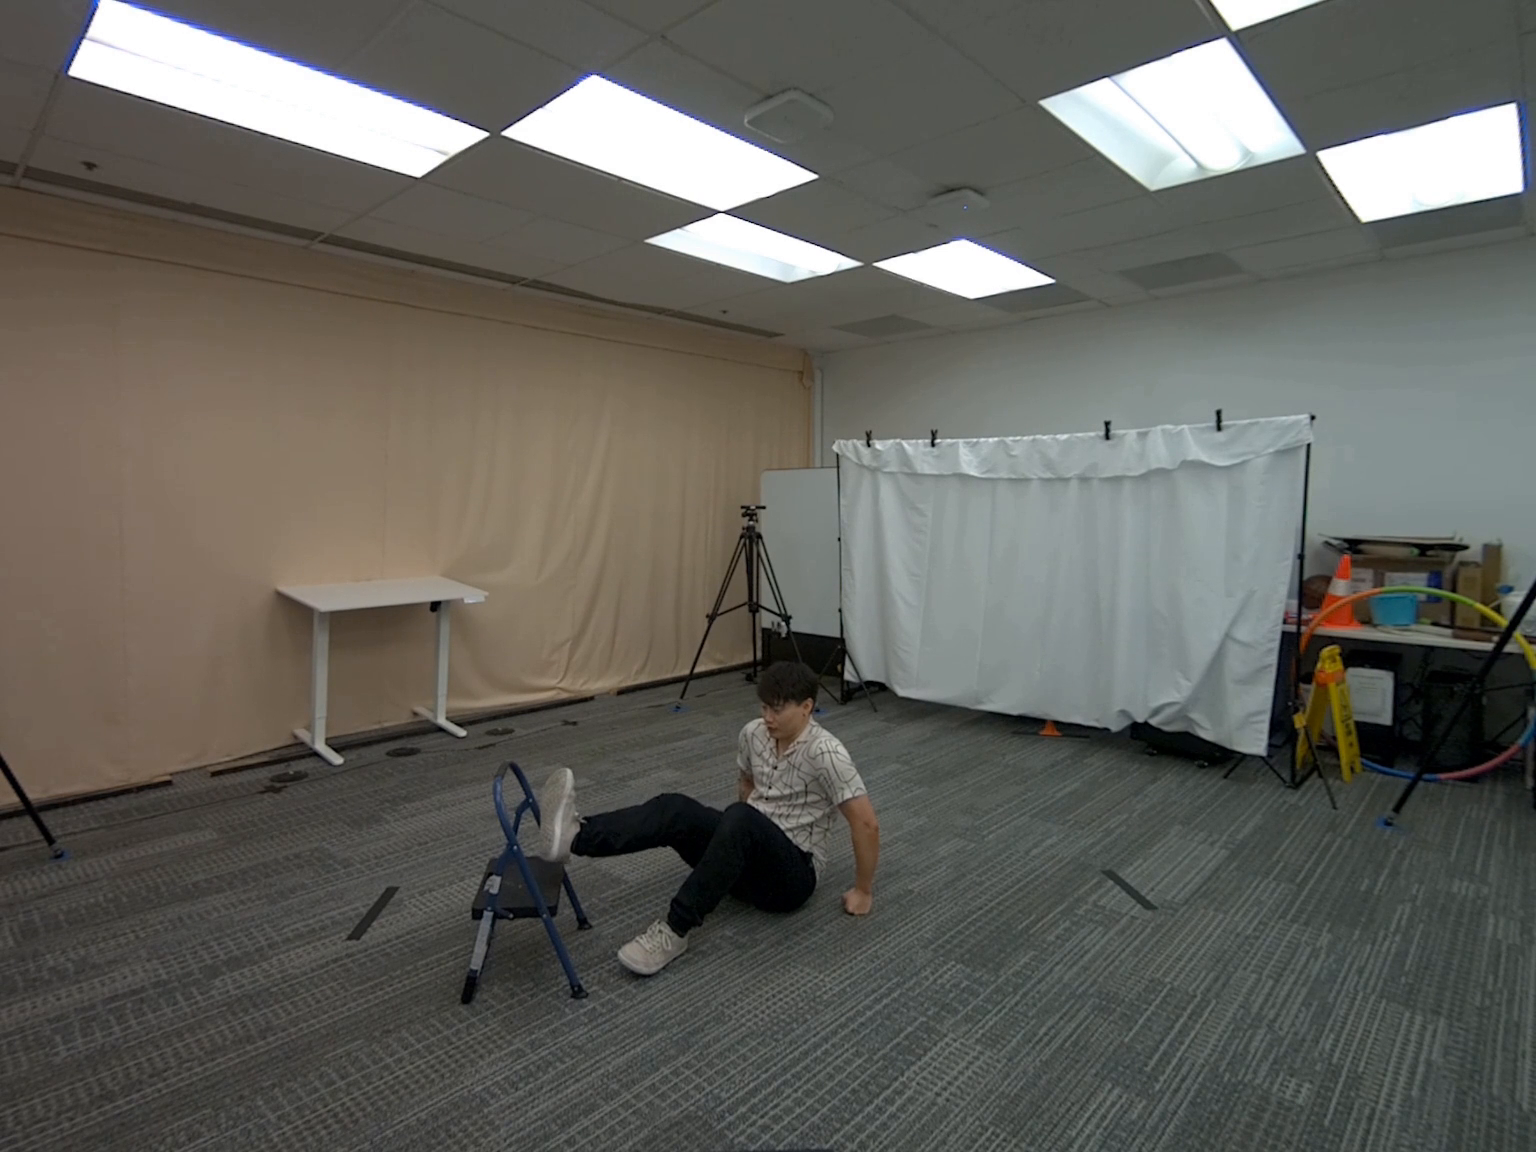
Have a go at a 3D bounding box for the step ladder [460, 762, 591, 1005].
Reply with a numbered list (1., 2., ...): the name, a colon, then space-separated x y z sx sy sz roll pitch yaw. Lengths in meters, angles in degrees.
1. step ladder: -0.728 0.887 2.554 0.346 0.605 0.435 0 3 -9
